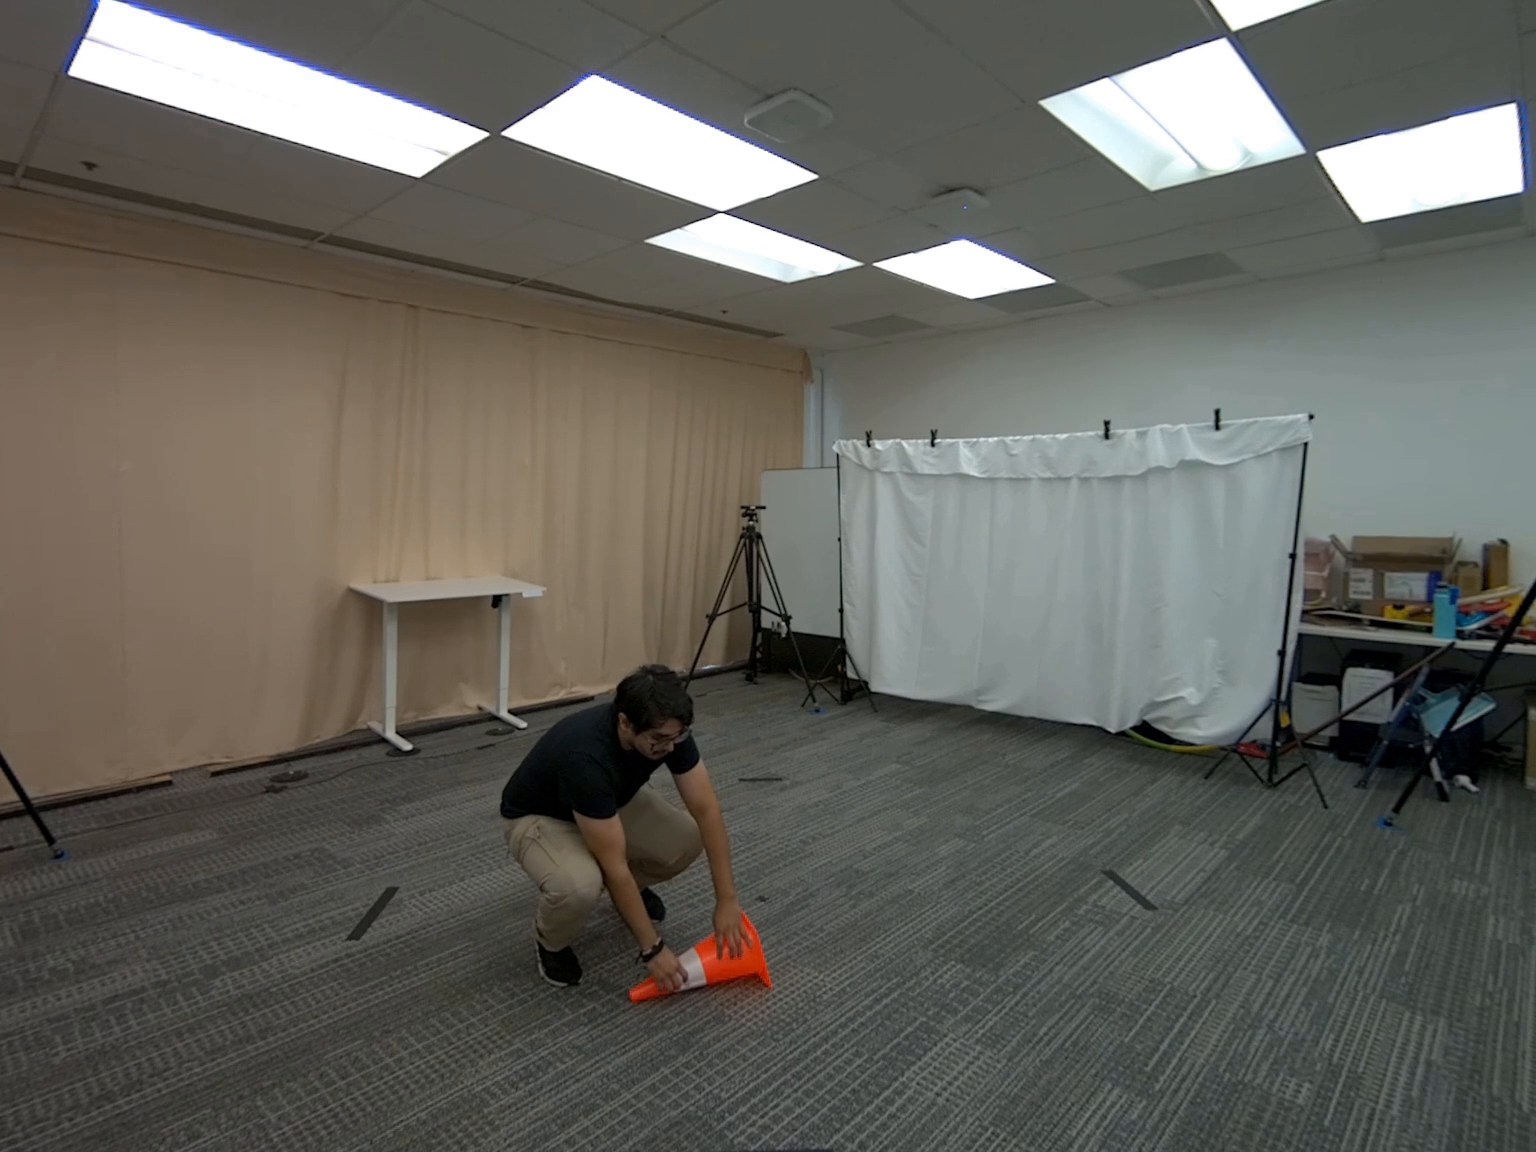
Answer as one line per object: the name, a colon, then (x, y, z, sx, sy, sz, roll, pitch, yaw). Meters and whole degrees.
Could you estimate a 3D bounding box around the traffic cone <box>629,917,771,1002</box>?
traffic cone: (-0.219, 1.152, 2.415, 0.377, 0.202, 0.210, -16, 7, -23)
